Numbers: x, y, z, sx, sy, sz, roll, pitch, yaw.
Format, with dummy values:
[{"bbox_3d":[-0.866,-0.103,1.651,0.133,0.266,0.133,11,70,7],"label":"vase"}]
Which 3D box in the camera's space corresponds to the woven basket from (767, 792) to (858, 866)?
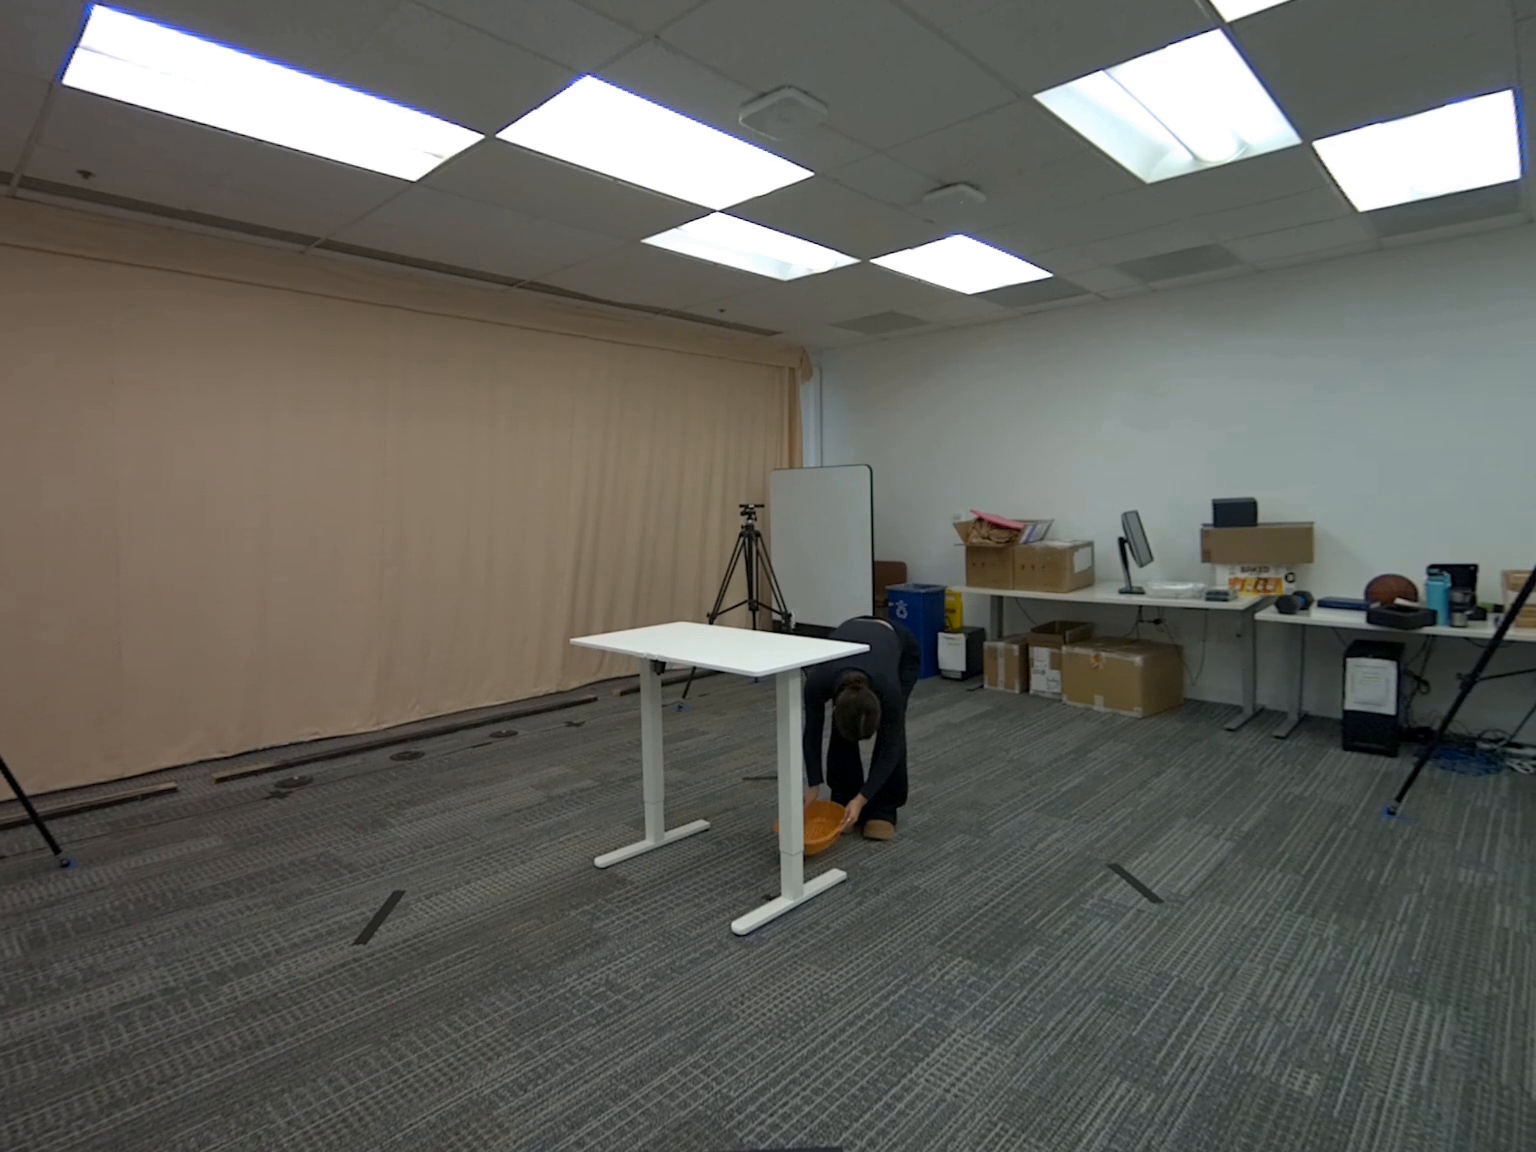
[{"bbox_3d":[0.196,0.985,3.347,0.260,0.073,0.342,6,16,33],"label":"woven basket"}]
